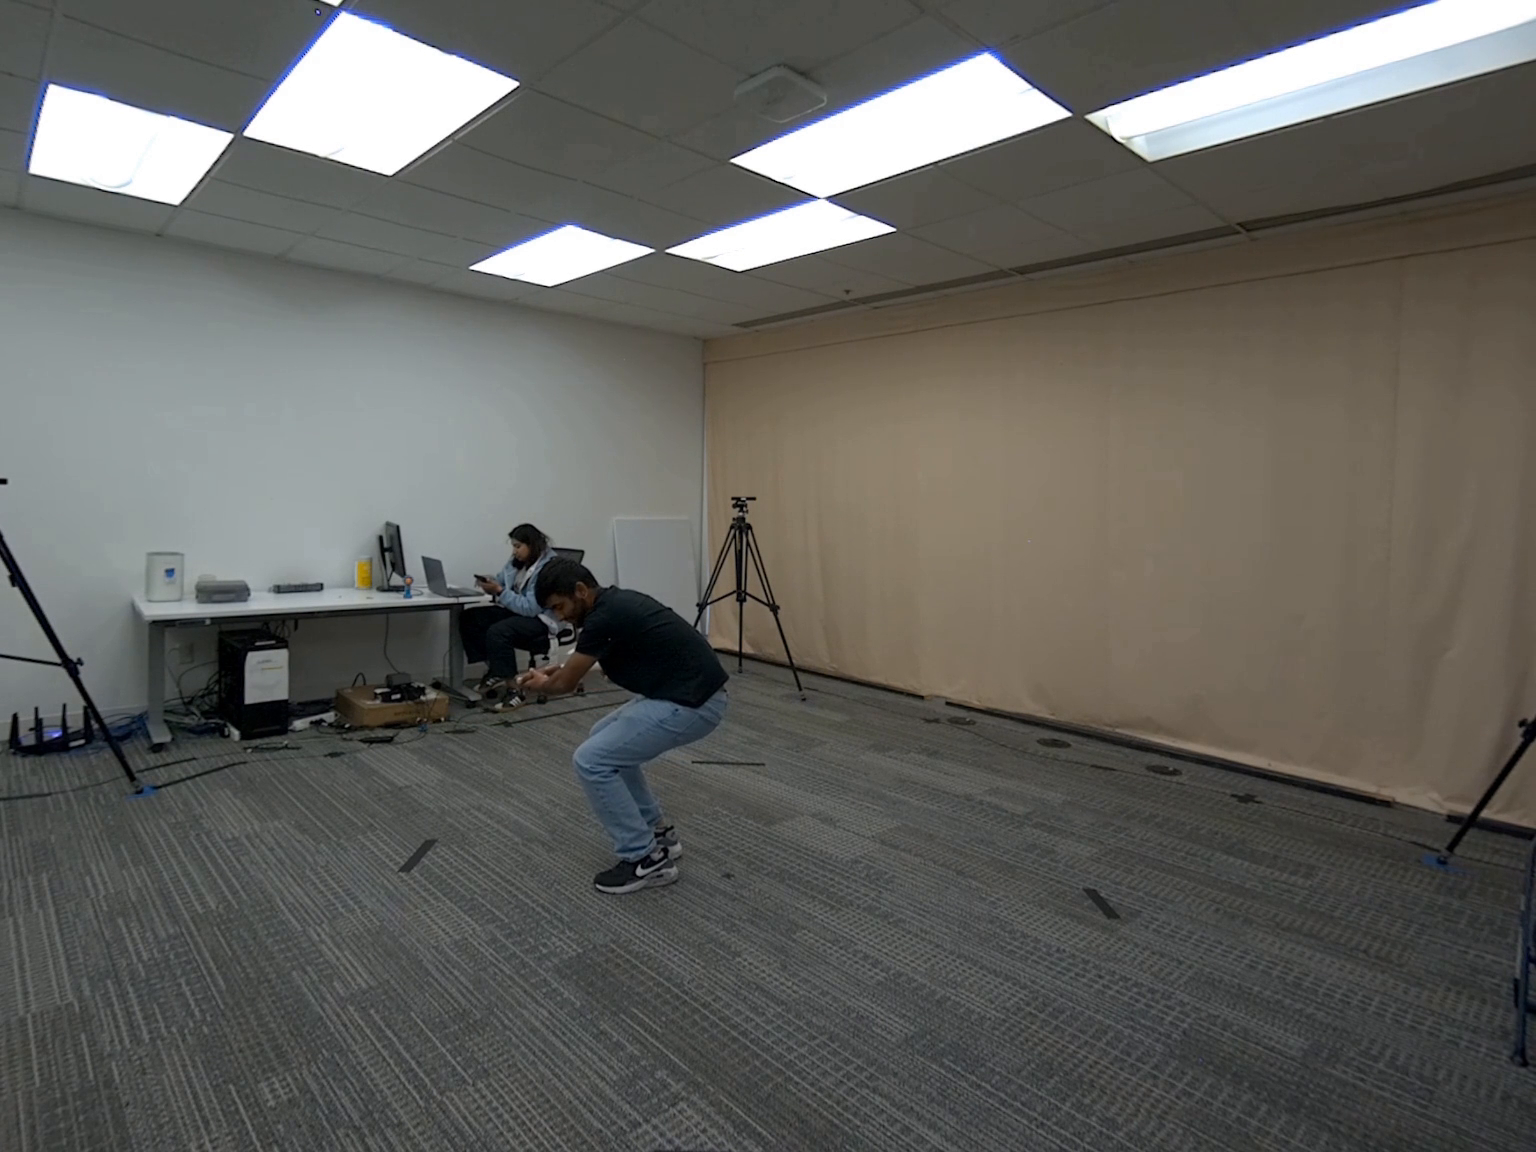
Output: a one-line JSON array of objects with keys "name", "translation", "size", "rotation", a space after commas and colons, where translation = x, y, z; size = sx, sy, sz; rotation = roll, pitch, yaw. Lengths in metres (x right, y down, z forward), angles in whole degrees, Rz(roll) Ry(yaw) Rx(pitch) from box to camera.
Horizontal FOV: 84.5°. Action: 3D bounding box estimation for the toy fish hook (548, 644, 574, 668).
[{"name": "toy fish hook", "translation": [-0.864, 0.377, 3.552], "size": [0.497, 0.048, 0.231], "rotation": [-9, 18, -37]}]
